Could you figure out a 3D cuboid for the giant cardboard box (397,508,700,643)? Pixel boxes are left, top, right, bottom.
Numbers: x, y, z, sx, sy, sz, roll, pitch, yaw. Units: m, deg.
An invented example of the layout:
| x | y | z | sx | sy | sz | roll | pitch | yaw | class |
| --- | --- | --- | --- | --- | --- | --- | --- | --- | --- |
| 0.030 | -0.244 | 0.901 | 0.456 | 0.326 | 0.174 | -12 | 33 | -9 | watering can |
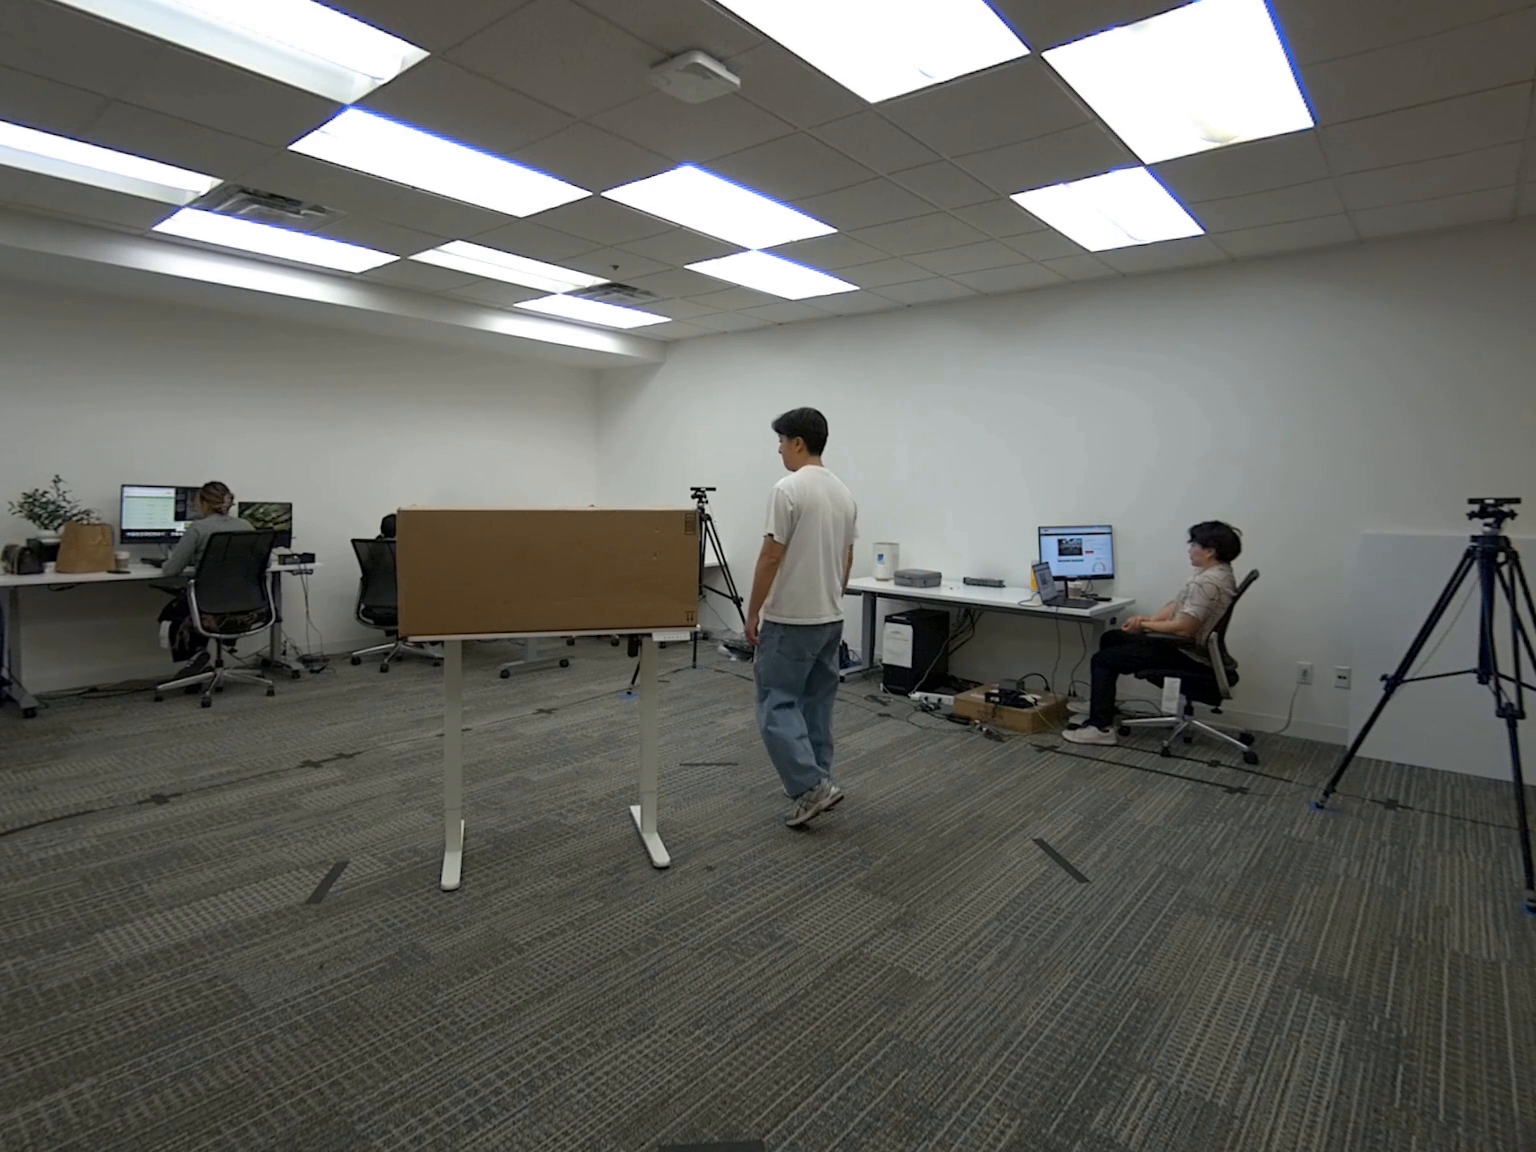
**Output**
| x | y | z | sx | sy | sz | roll | pitch | yaw | class |
| --- | --- | --- | --- | --- | --- | --- | --- | --- | --- |
| -0.832 | -0.048 | 3.192 | 1.010 | 0.424 | 0.590 | -1 | 6 | -16 | giant cardboard box |
